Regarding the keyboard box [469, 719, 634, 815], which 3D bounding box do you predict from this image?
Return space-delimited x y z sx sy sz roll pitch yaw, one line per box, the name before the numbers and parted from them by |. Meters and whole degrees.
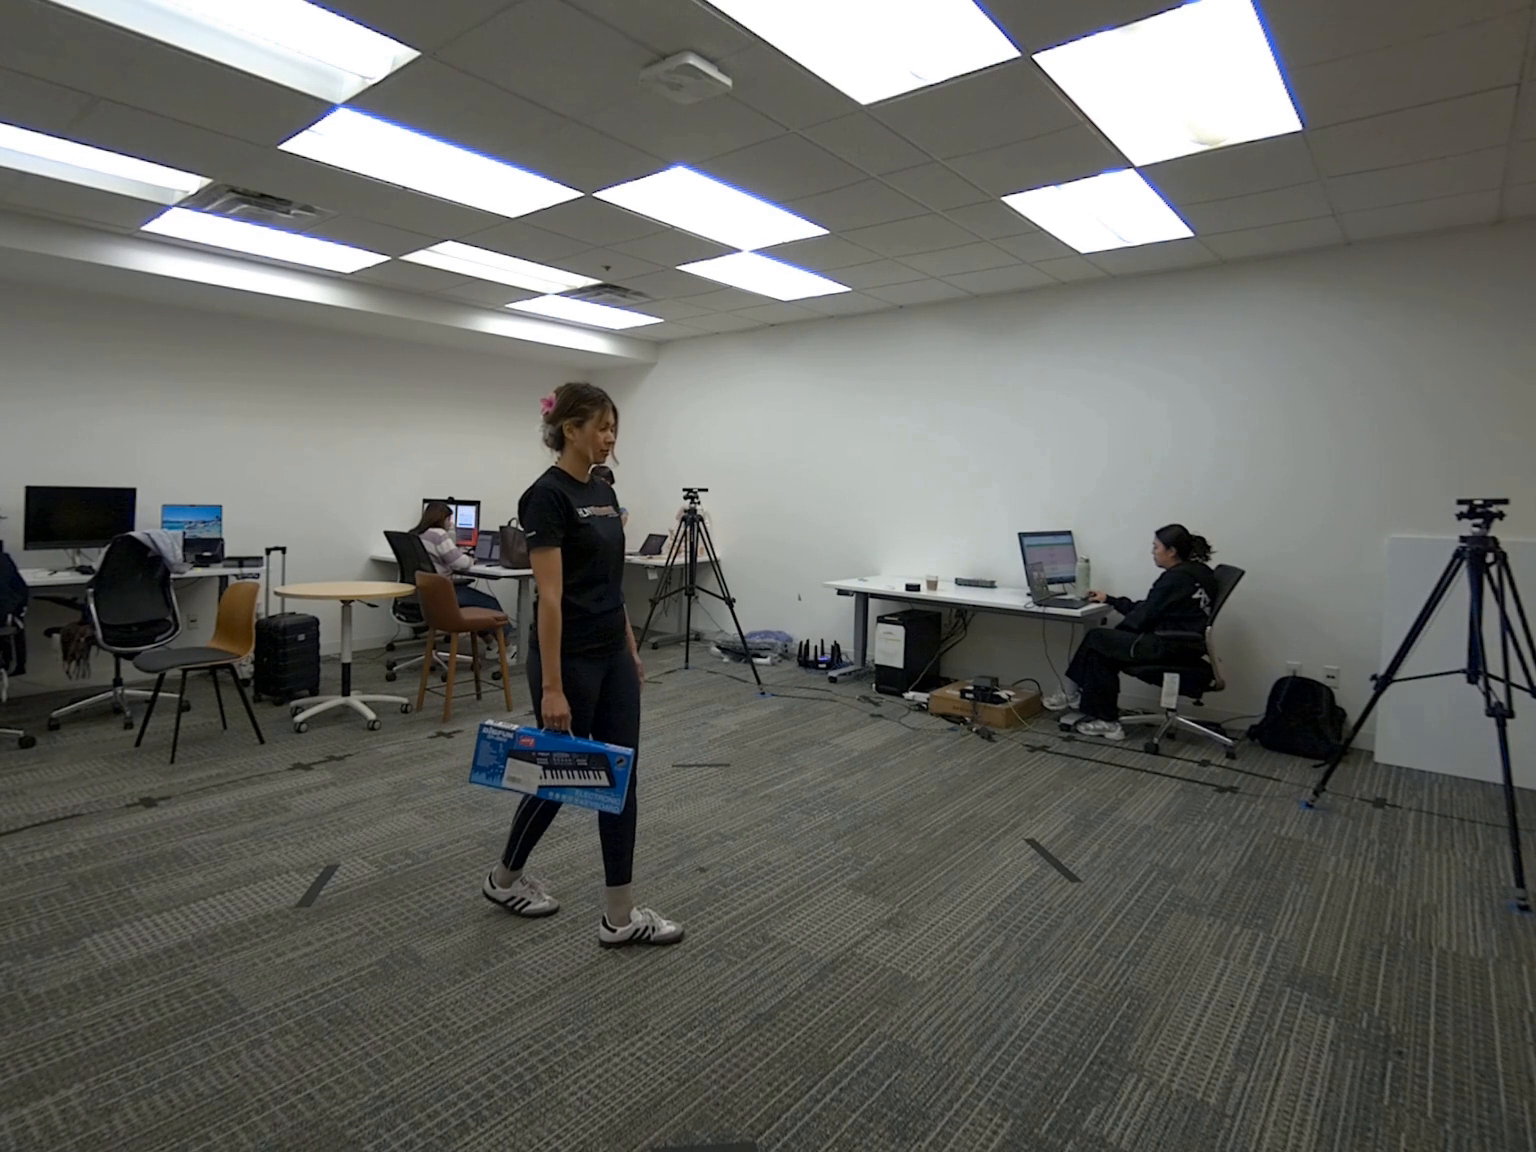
keyboard box | -0.610 0.525 2.396 0.438 0.176 0.059 10 2 2
